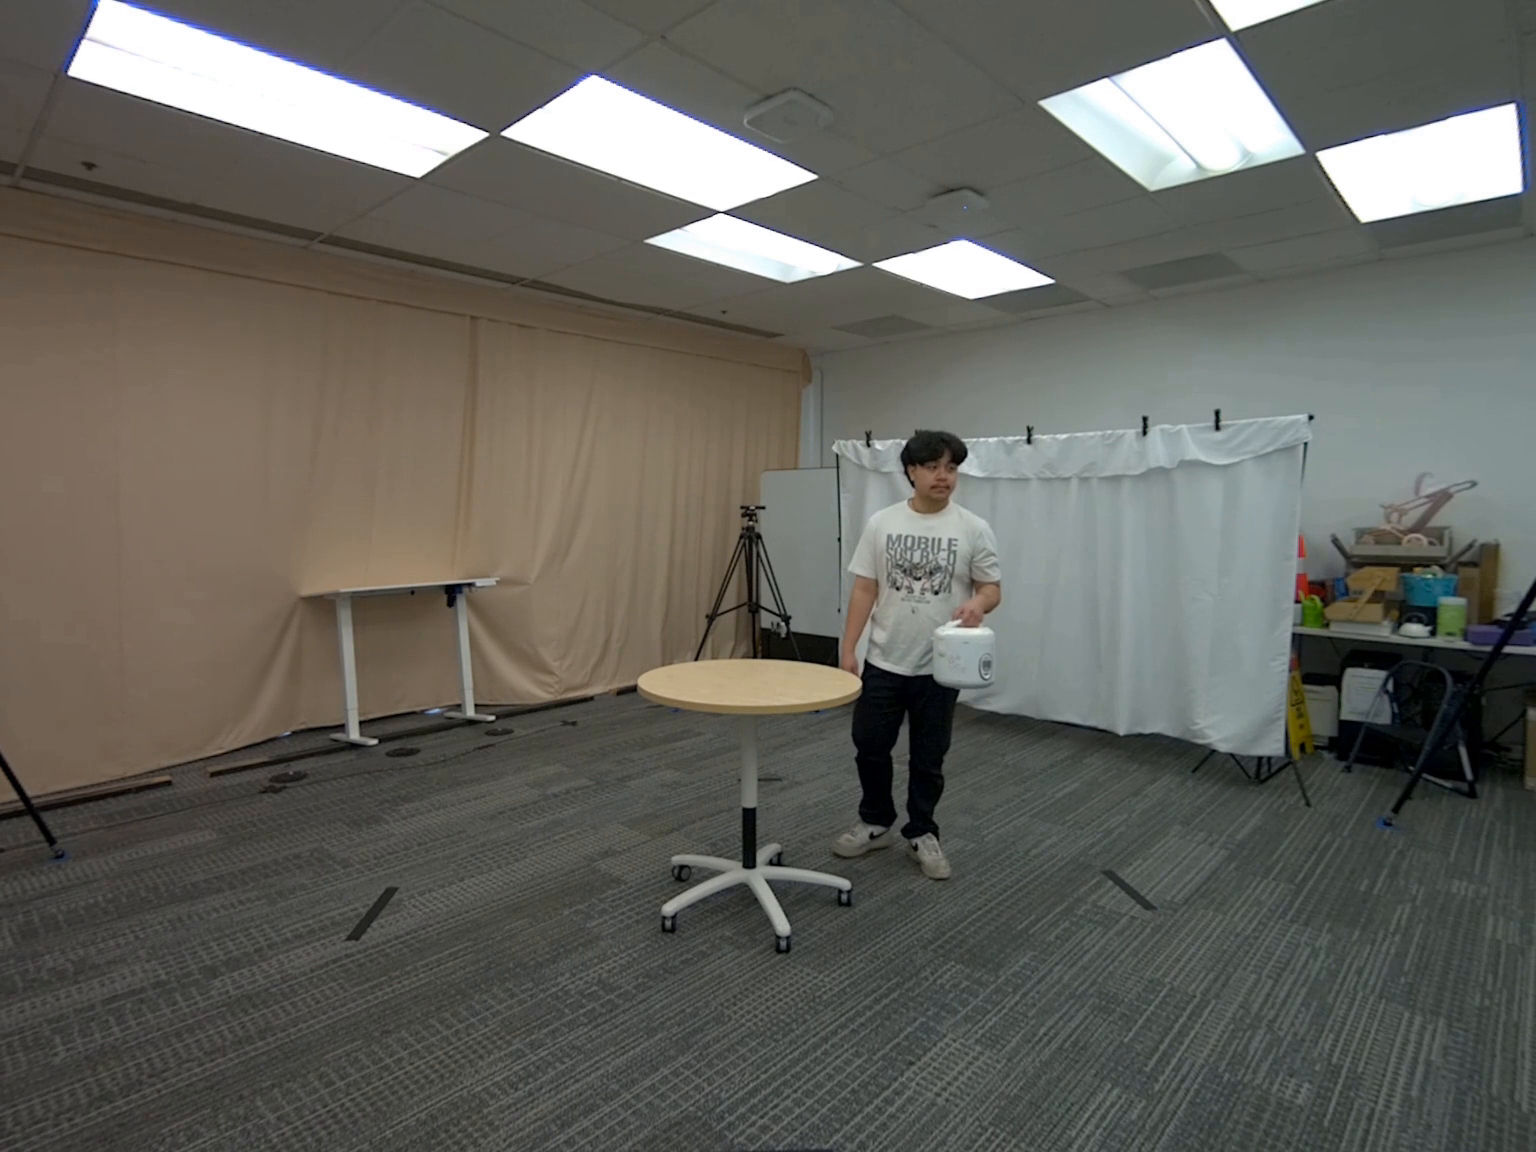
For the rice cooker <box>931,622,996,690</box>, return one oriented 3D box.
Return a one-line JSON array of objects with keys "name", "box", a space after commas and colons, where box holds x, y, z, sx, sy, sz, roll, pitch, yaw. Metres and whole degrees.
[{"name": "rice cooker", "box": [0.683, 0.264, 2.933, 0.215, 0.233, 0.223, 0, 0, -27]}]
